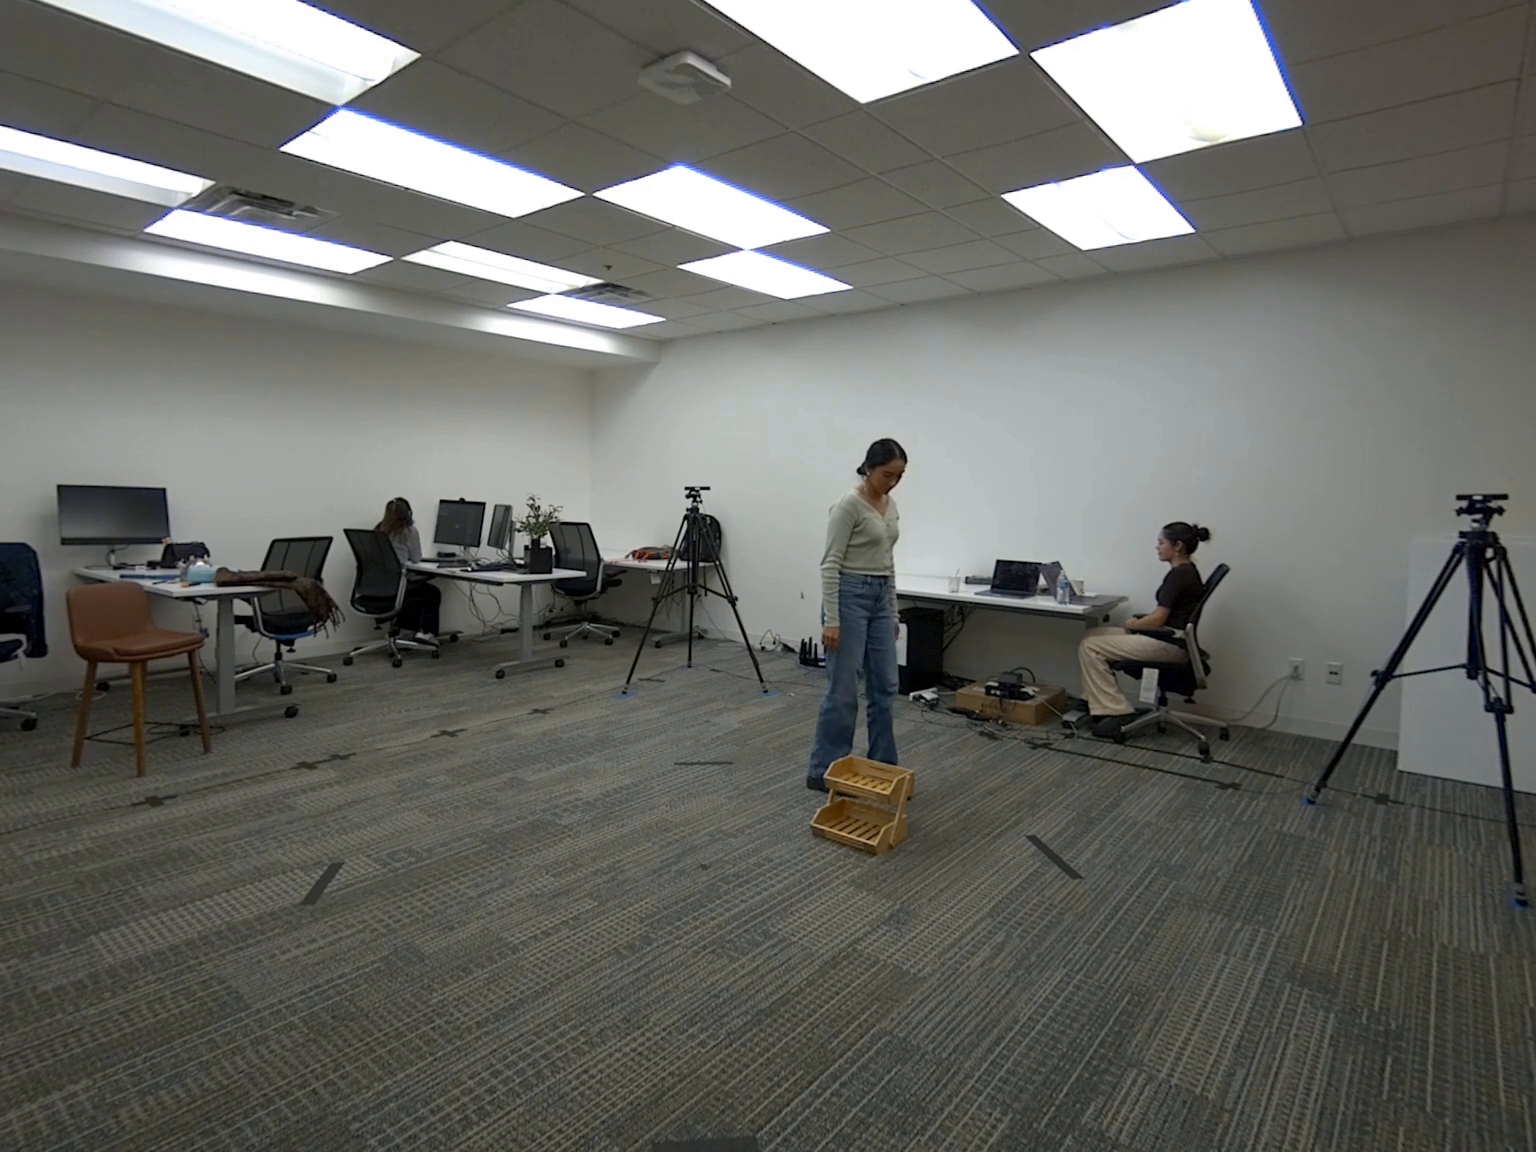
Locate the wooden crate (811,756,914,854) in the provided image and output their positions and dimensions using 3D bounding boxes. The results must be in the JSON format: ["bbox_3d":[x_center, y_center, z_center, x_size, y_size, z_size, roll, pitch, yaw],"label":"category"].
[{"bbox_3d":[0.372,0.909,3.430,0.335,0.272,0.293,5,5,38],"label":"wooden crate"}]
